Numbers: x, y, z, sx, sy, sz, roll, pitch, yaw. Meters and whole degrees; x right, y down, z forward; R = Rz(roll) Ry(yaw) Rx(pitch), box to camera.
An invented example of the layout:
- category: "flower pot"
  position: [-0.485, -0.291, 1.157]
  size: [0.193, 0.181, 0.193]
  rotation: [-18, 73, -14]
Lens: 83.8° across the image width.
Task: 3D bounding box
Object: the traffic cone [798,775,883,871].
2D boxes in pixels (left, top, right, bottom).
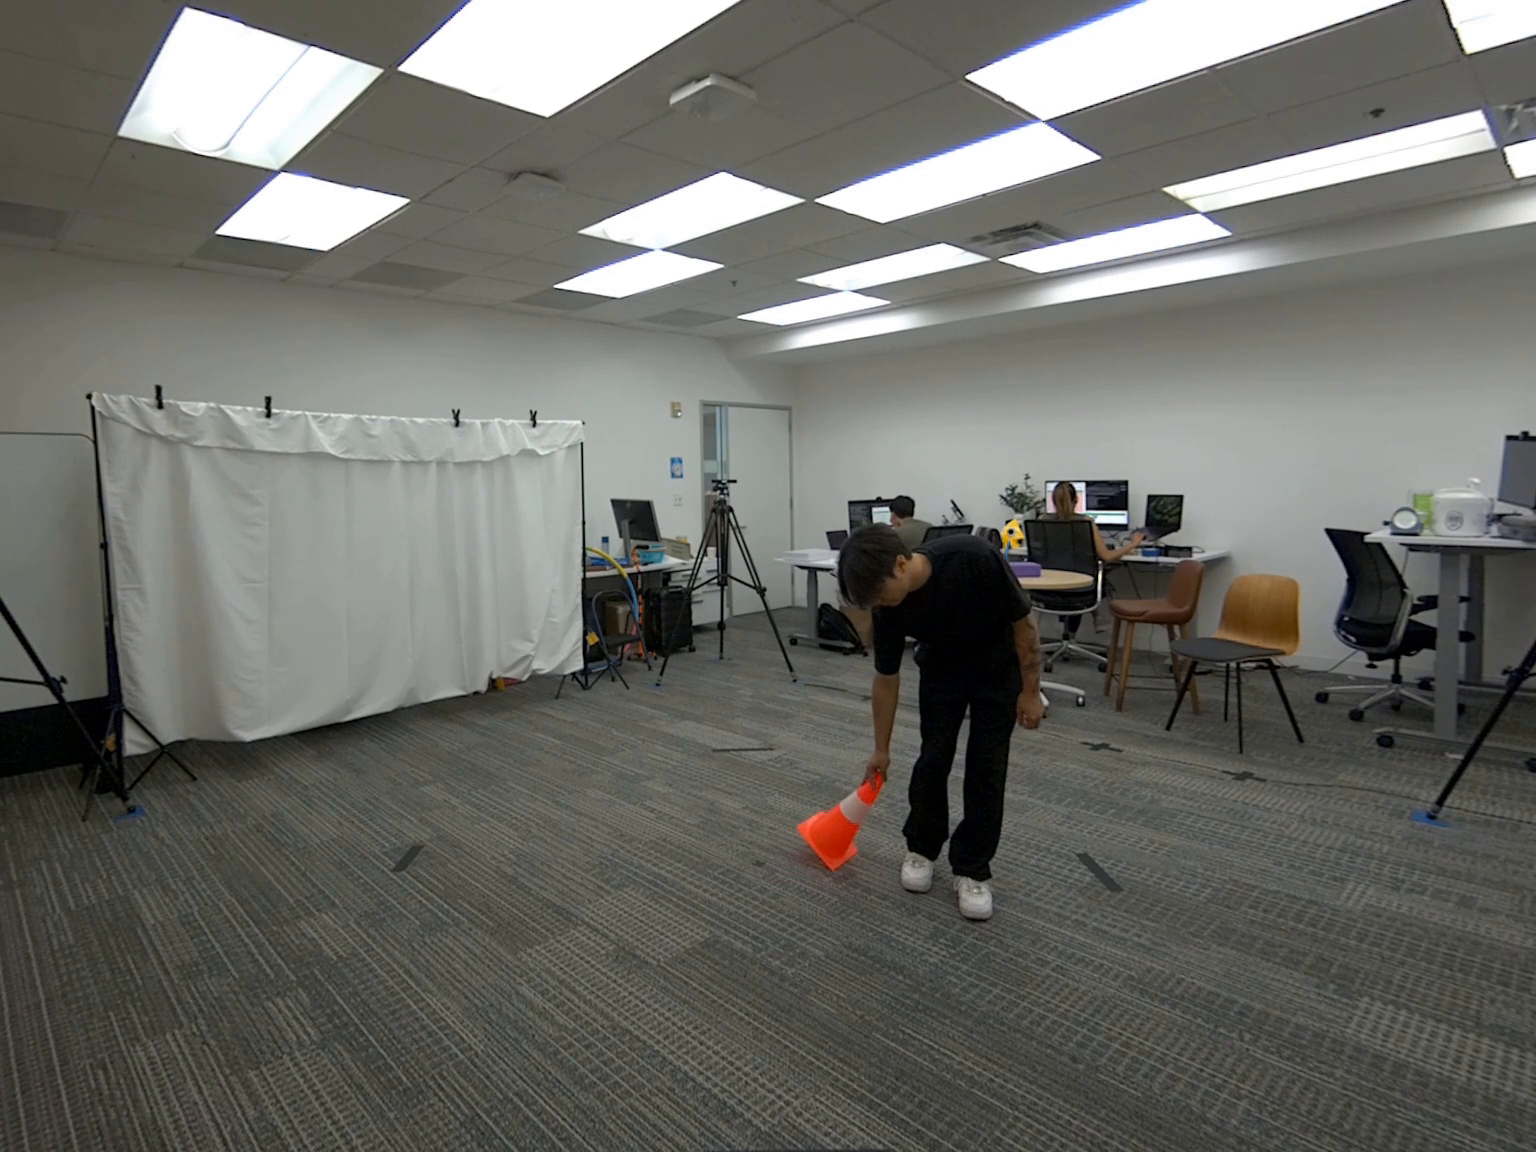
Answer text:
- category: "traffic cone"
  position: [0.321, 0.836, 3.081]
  size: [0.198, 0.381, 0.212]
  rotation: [-3, 41, -50]
